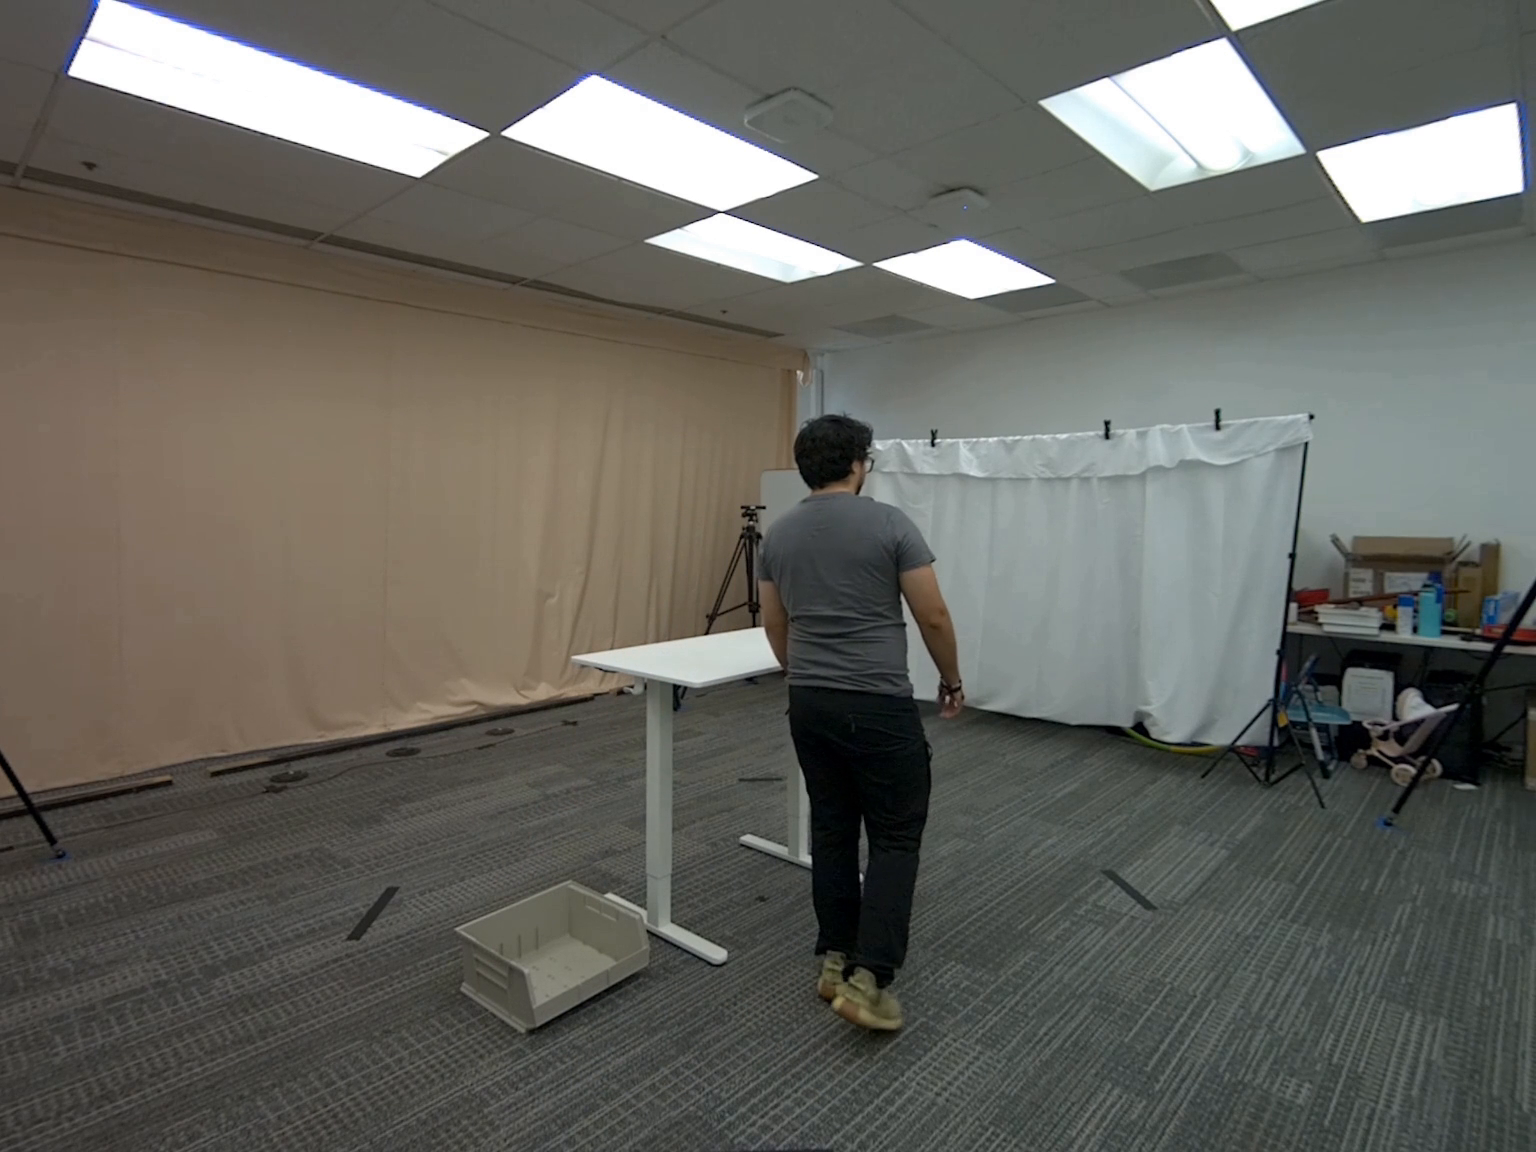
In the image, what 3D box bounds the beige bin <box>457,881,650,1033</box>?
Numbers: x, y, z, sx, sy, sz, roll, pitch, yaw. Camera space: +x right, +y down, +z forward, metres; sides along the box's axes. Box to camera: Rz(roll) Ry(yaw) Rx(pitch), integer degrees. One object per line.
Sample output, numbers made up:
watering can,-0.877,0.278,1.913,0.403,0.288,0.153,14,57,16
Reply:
beige bin,-0.629,1.105,2.461,0.390,0.188,0.410,2,5,40
